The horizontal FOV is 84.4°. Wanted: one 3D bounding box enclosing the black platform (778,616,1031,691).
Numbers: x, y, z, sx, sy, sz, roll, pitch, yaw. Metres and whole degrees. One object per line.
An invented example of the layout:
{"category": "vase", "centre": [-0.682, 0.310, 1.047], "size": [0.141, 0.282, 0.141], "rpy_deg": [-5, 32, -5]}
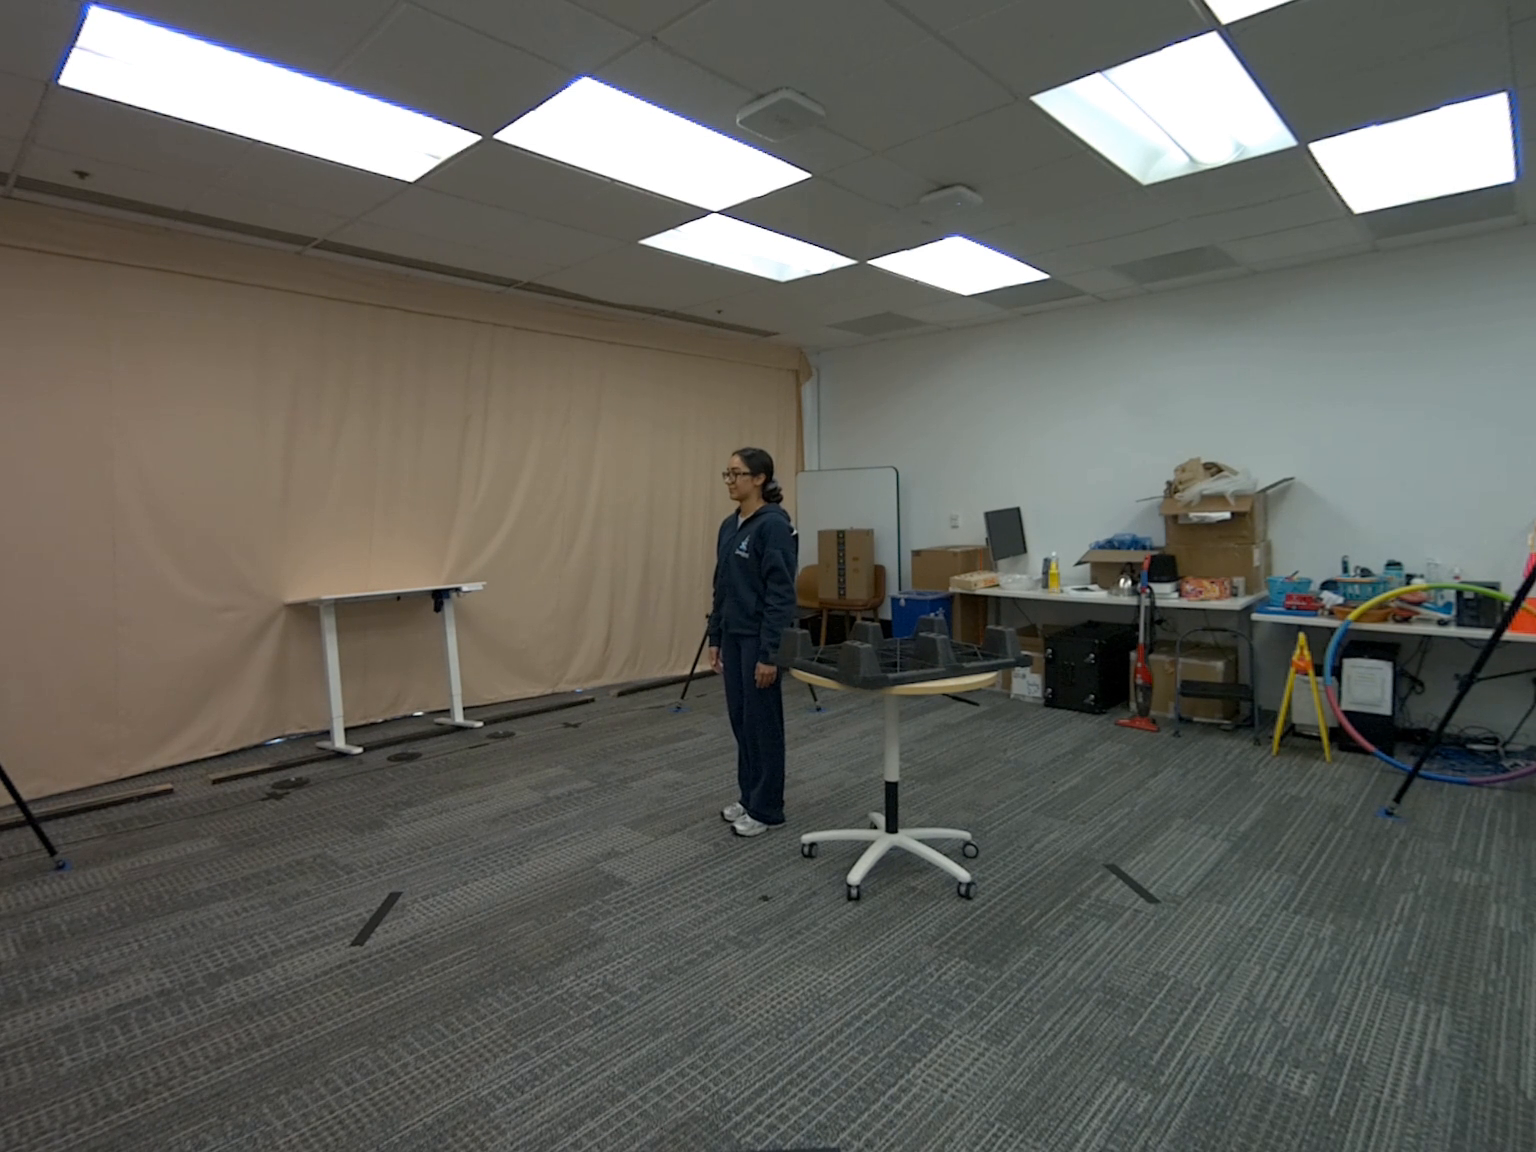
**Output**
{"category": "black platform", "centre": [0.500, 0.271, 3.170], "size": [0.784, 0.143, 0.623], "rpy_deg": [-4, 6, -30]}
